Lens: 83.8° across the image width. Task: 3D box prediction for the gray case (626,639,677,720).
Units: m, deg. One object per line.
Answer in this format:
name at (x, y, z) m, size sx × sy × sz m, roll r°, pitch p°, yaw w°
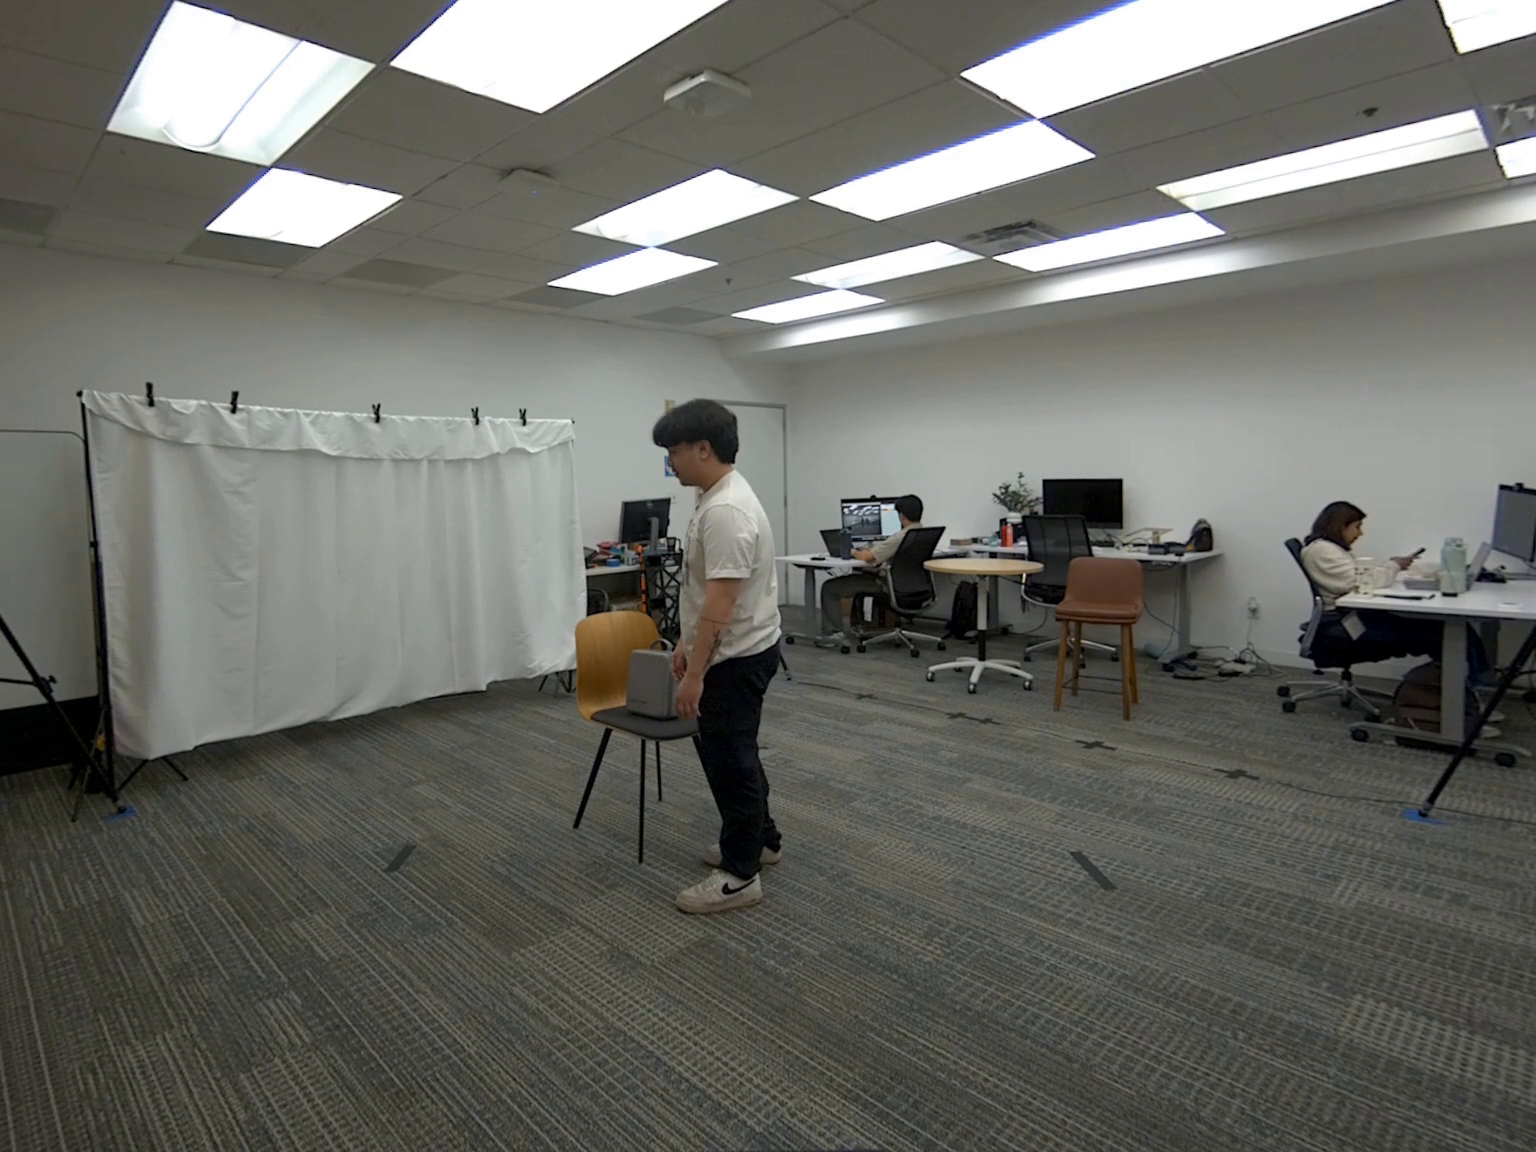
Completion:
gray case at (-0.442, 0.418, 3.353) m, size 0.101 × 0.262 × 0.264 m, roll 9°, pitch -6°, yaw -42°
